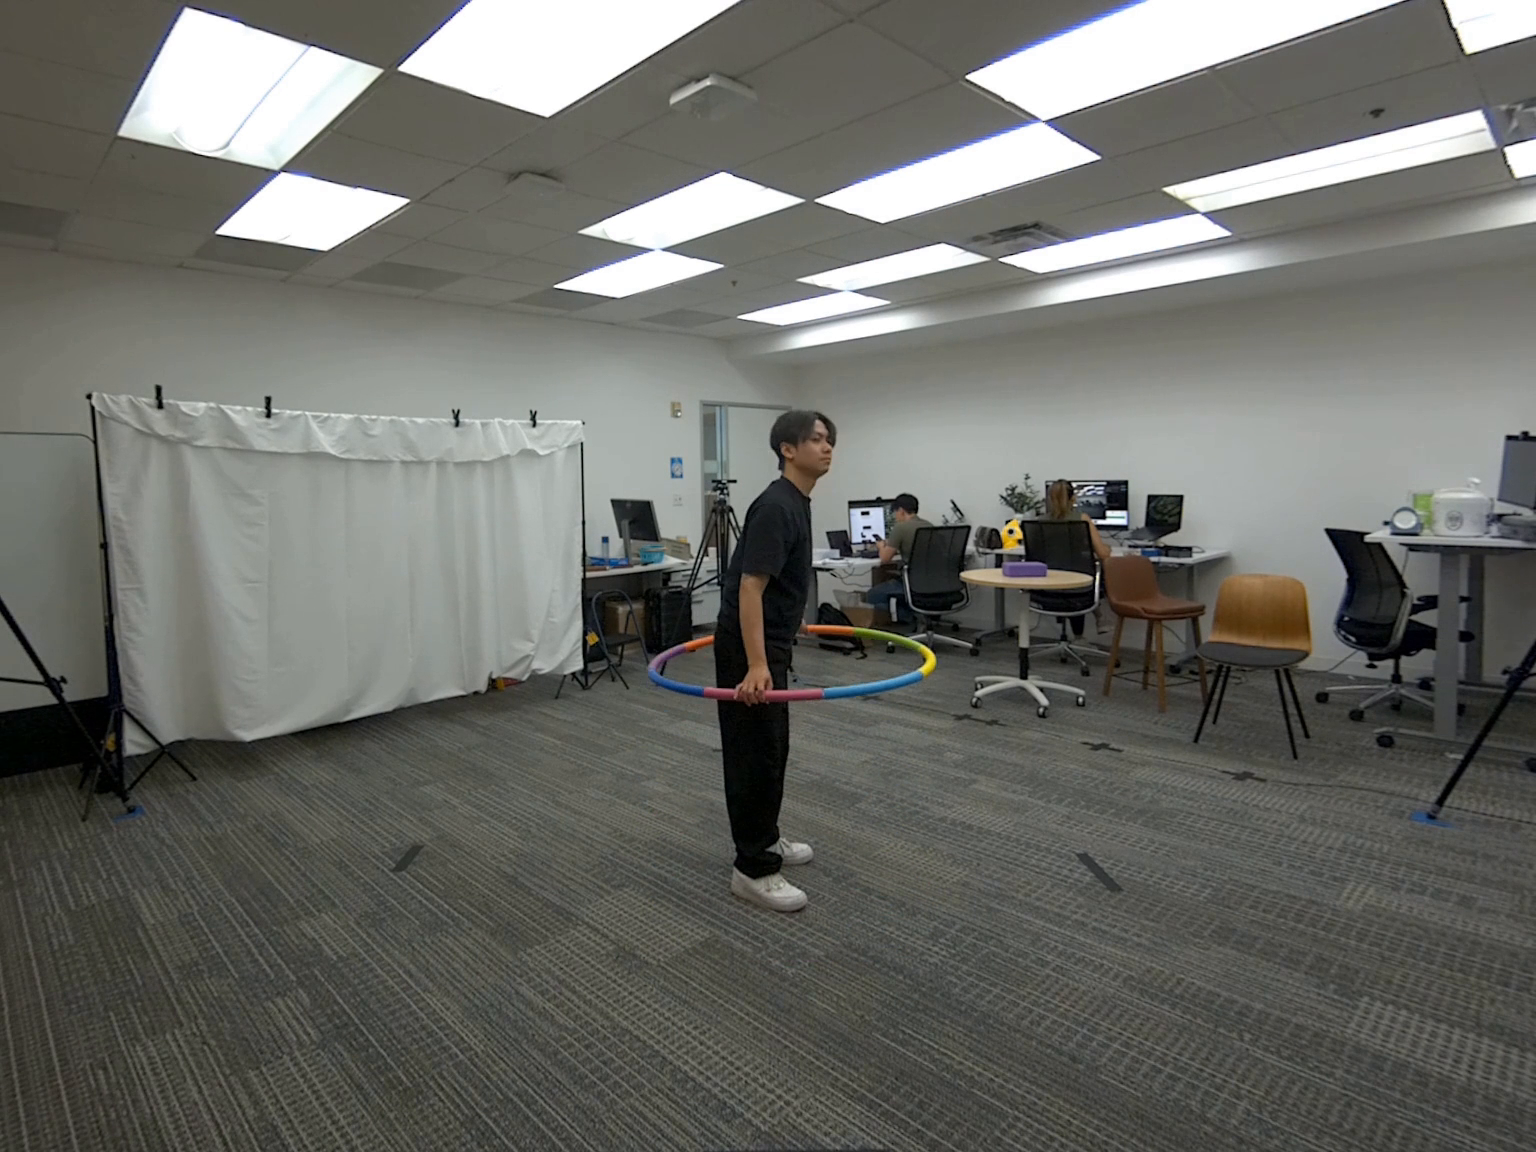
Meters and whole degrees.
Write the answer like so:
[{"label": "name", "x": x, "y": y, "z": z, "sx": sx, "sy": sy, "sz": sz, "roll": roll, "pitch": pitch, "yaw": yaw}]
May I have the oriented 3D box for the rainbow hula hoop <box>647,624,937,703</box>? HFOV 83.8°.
[{"label": "rainbow hula hoop", "x": 0.070, "y": 0.290, "z": 2.979, "sx": 0.978, "sy": 0.035, "sz": 0.985, "roll": -4, "pitch": 8, "yaw": -1}]
